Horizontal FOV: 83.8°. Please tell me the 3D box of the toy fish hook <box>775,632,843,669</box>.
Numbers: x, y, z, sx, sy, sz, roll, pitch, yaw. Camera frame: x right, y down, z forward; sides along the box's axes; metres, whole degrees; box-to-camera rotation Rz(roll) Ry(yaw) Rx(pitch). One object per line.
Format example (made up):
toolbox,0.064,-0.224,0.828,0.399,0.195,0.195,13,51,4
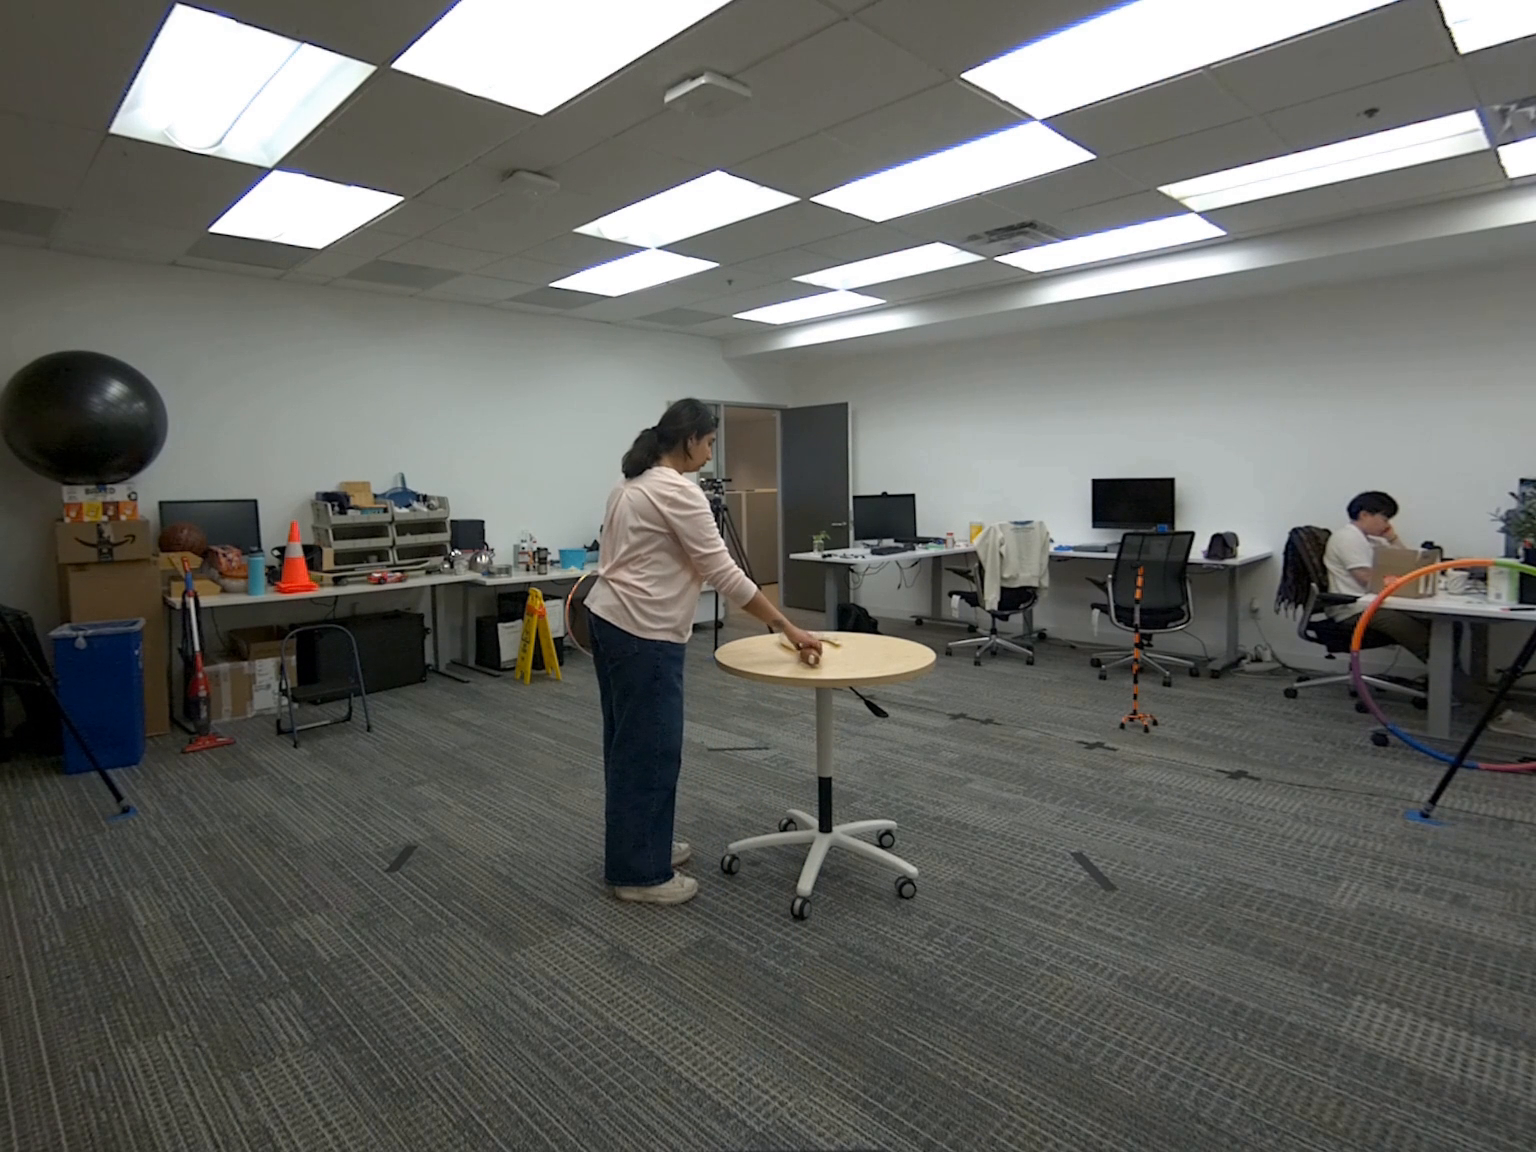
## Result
toy fish hook,0.161,0.247,2.996,0.223,0.048,0.513,-3,6,-10
